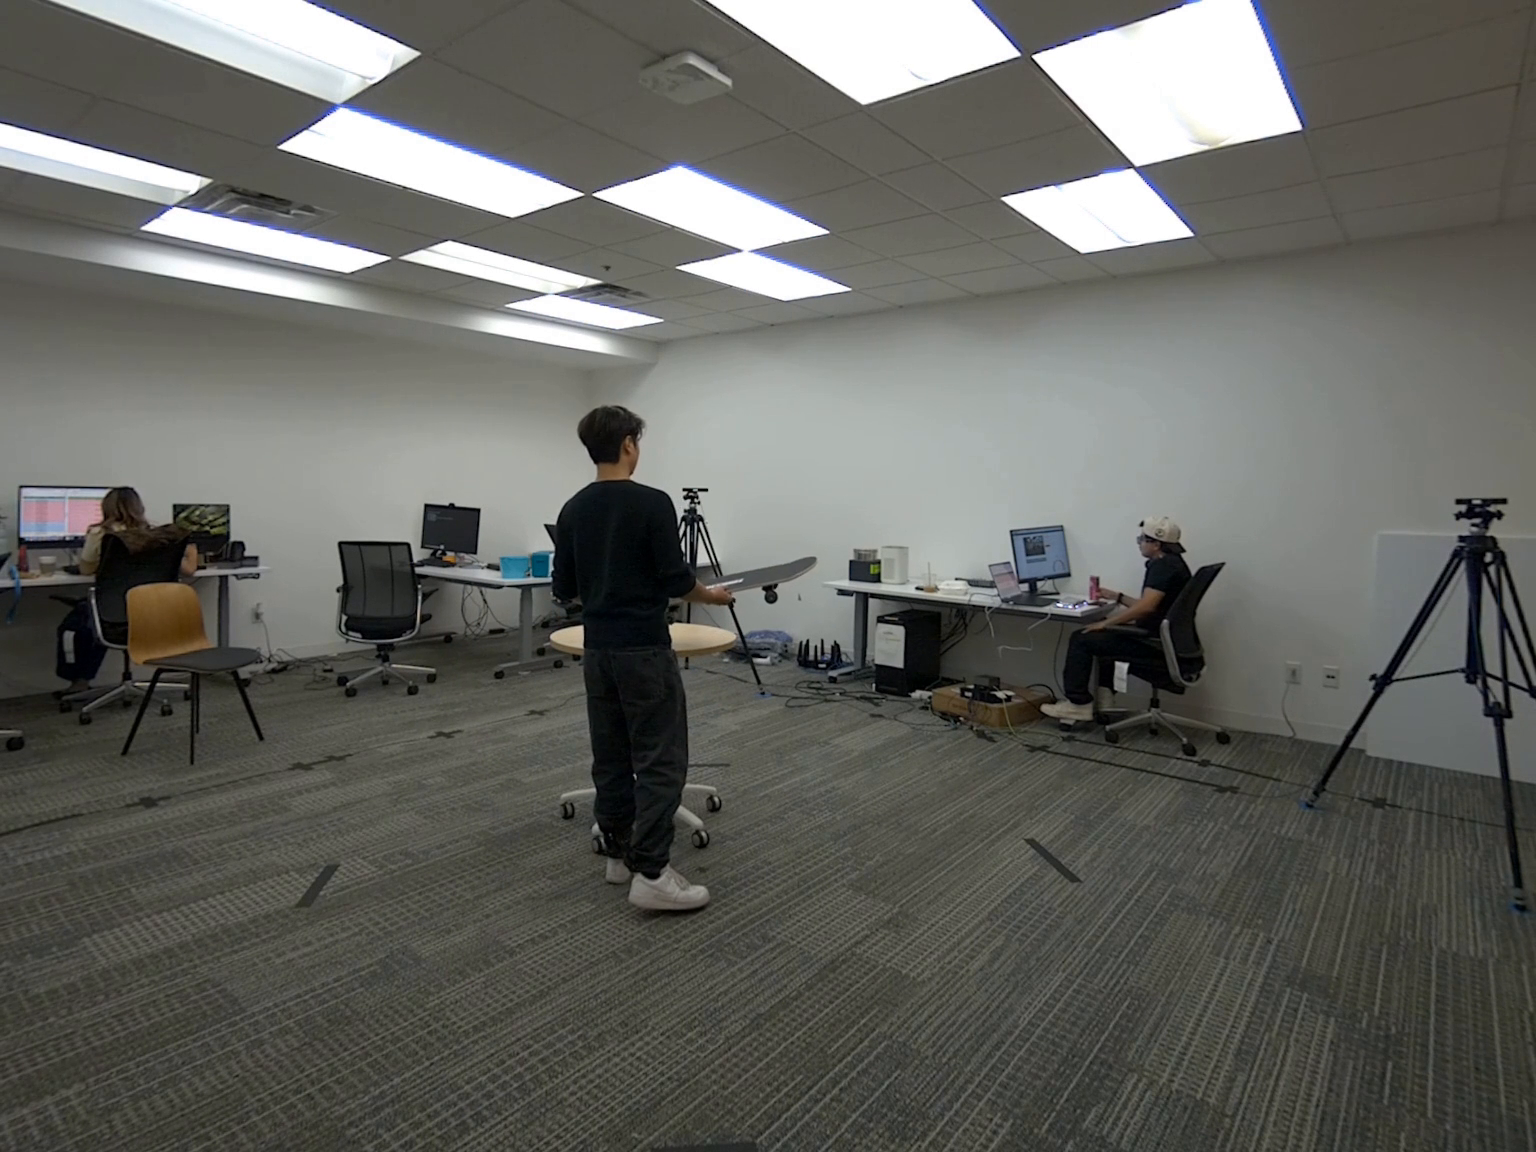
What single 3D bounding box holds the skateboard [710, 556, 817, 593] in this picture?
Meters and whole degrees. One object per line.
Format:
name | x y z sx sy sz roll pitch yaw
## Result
skateboard | -0.203 0.073 3.257 0.790 0.108 0.196 -13 18 6
